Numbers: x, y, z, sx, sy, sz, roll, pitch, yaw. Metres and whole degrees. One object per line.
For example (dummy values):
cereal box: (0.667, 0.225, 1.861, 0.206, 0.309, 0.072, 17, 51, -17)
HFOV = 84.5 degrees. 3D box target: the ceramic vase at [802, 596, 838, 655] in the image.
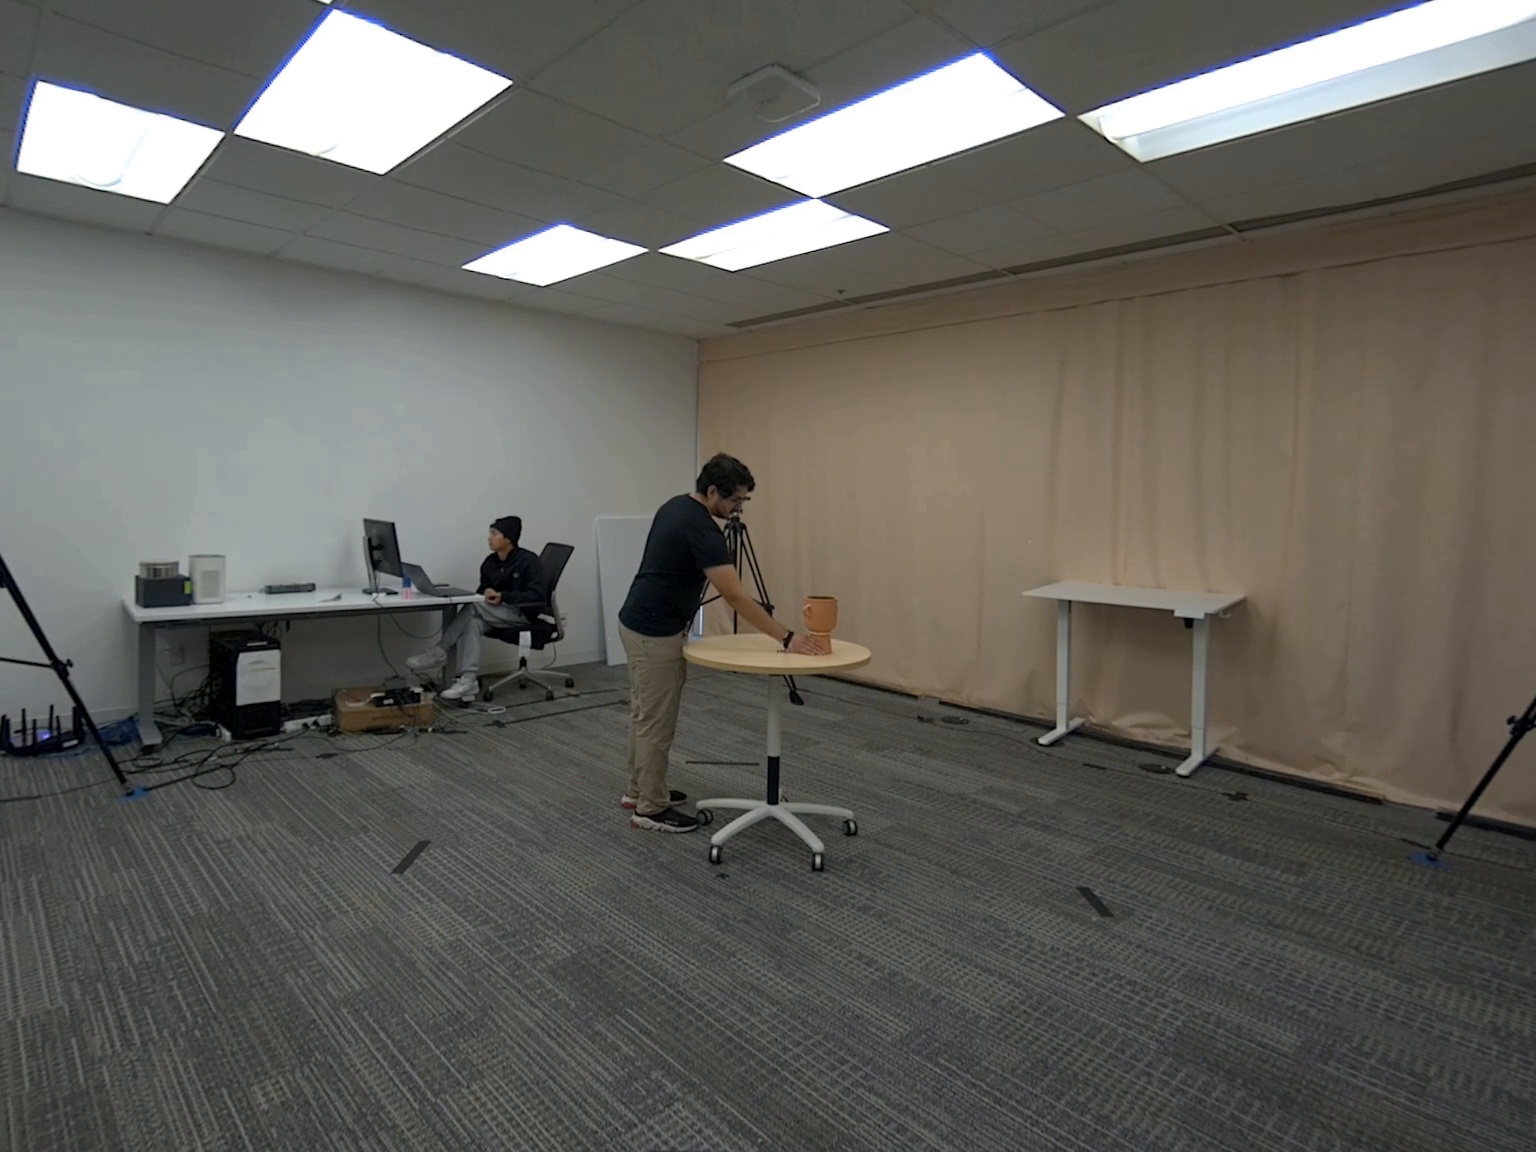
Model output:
ceramic vase: (0.201, 0.200, 3.376, 0.158, 0.219, 0.135, 1, 3, -6)
